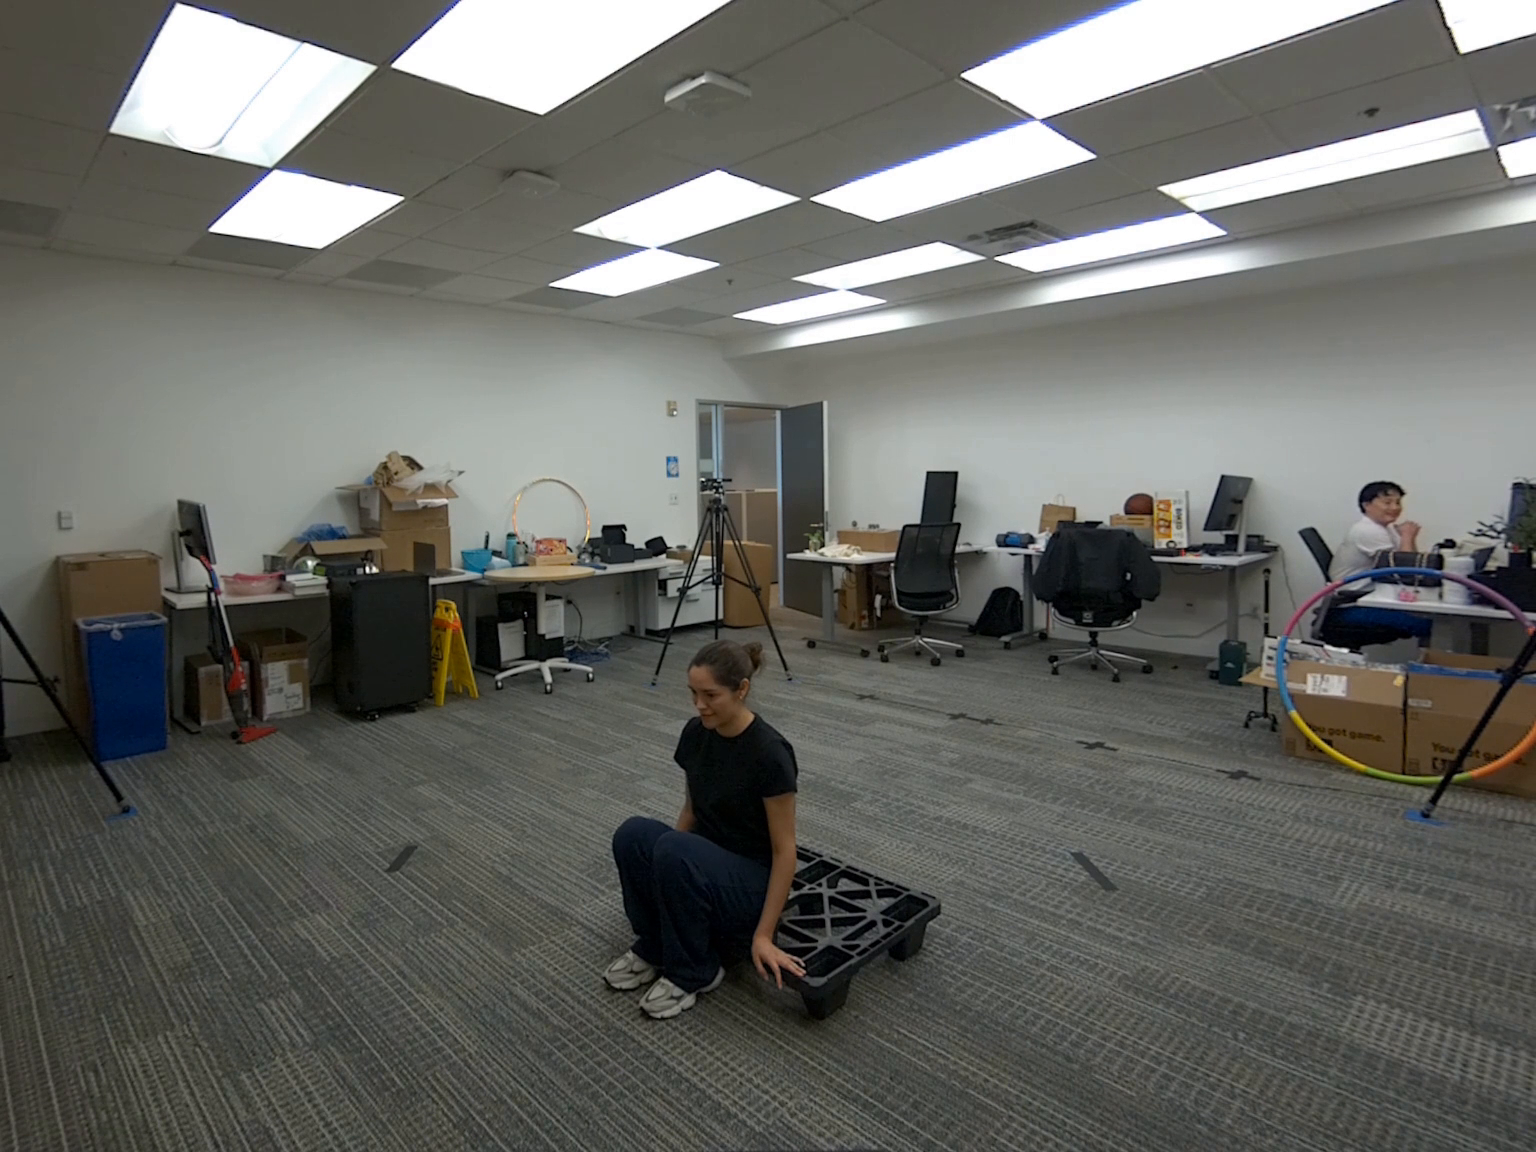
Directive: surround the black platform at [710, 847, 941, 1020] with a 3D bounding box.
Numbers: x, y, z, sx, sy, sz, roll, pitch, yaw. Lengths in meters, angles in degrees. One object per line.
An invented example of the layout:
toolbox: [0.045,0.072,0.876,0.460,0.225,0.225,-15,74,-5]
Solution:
black platform: [0.032,1.029,2.643,0.831,0.143,0.589,6,8,44]
